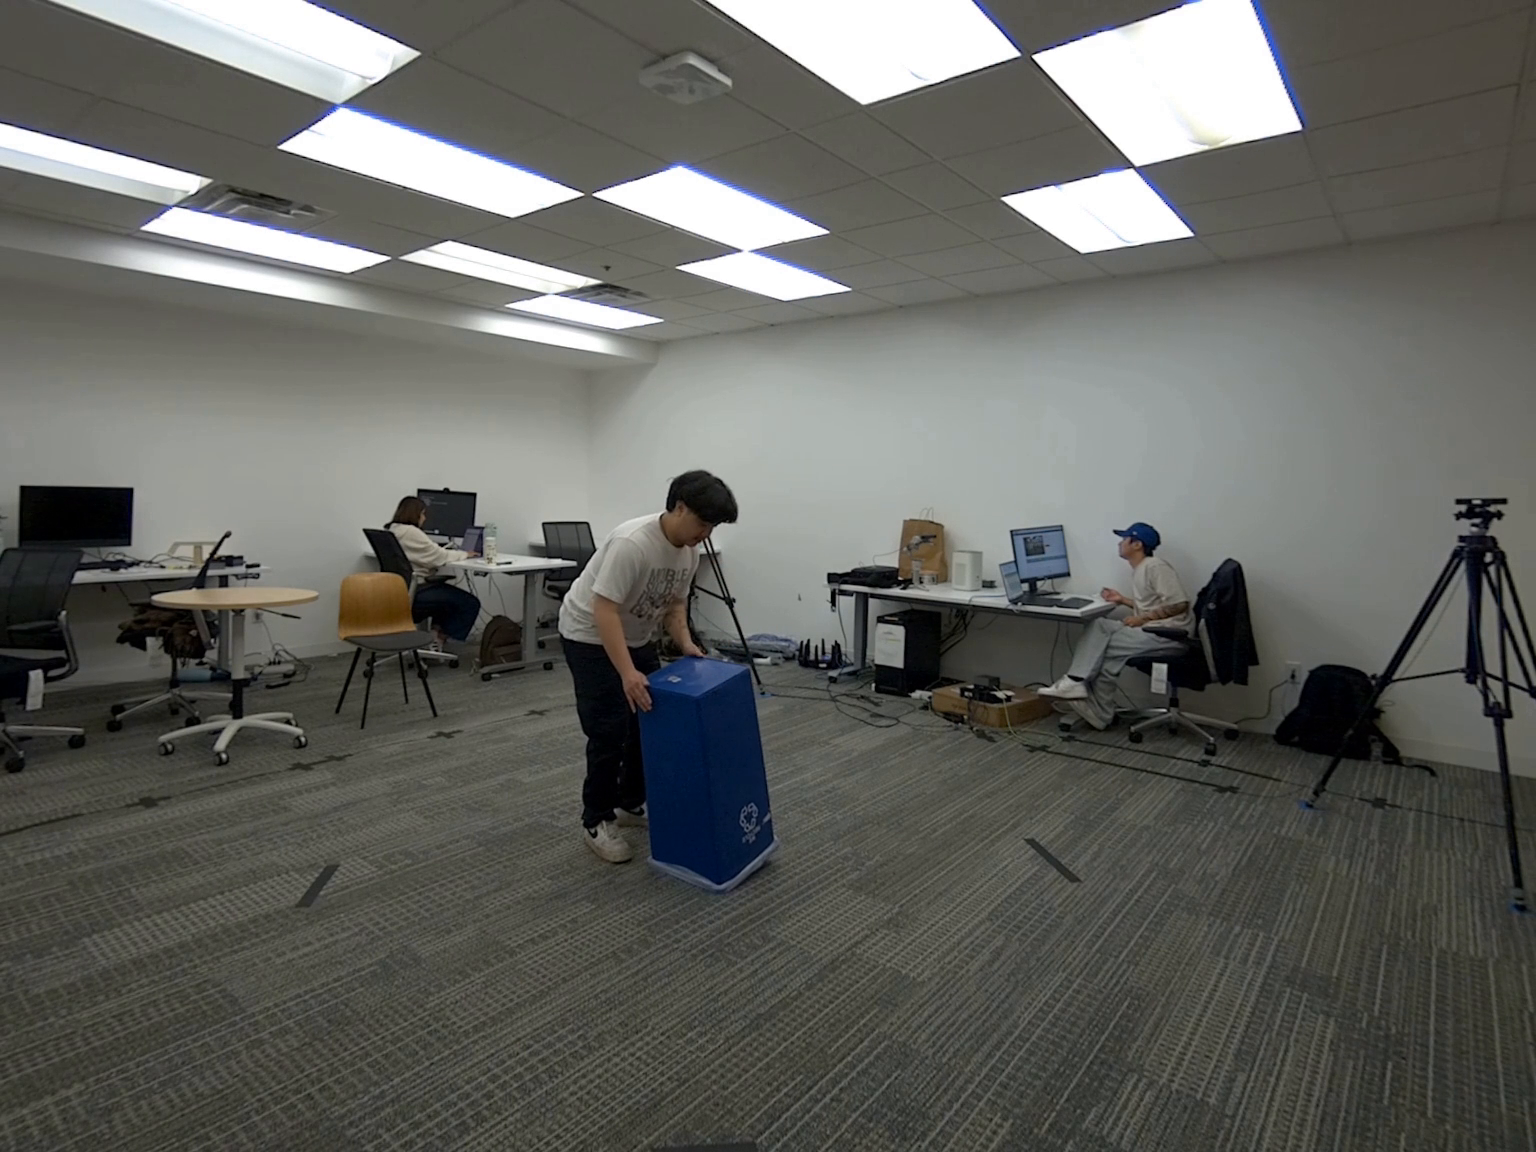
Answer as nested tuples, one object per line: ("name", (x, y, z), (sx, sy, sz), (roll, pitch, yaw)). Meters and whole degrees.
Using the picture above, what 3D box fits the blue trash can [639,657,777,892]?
("blue trash can", (-0.248, 0.693, 3.086), (0.390, 0.704, 0.367), (3, 16, 37))
